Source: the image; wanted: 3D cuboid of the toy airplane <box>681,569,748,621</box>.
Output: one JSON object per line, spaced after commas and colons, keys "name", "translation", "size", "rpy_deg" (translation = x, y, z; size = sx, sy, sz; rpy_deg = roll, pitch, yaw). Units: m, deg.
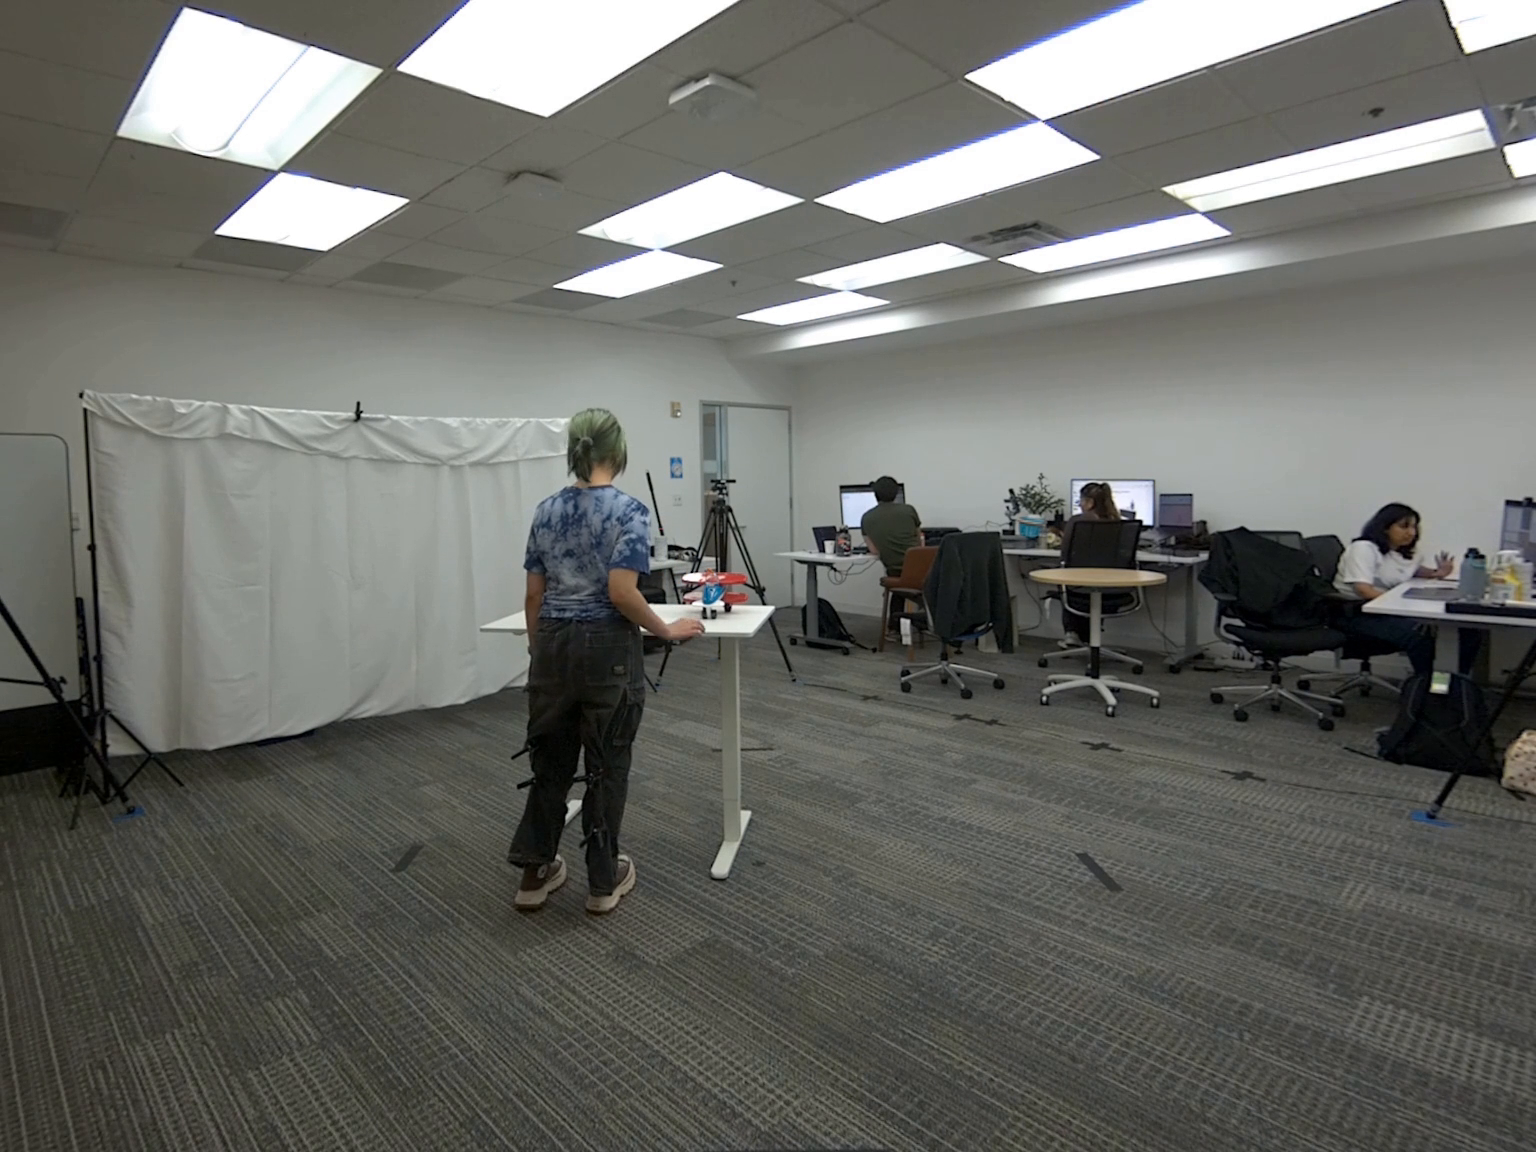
{"name": "toy airplane", "translation": [-0.191, 0.072, 3.278], "size": [0.246, 0.156, 0.265], "rpy_deg": [-3, 4, -23]}
